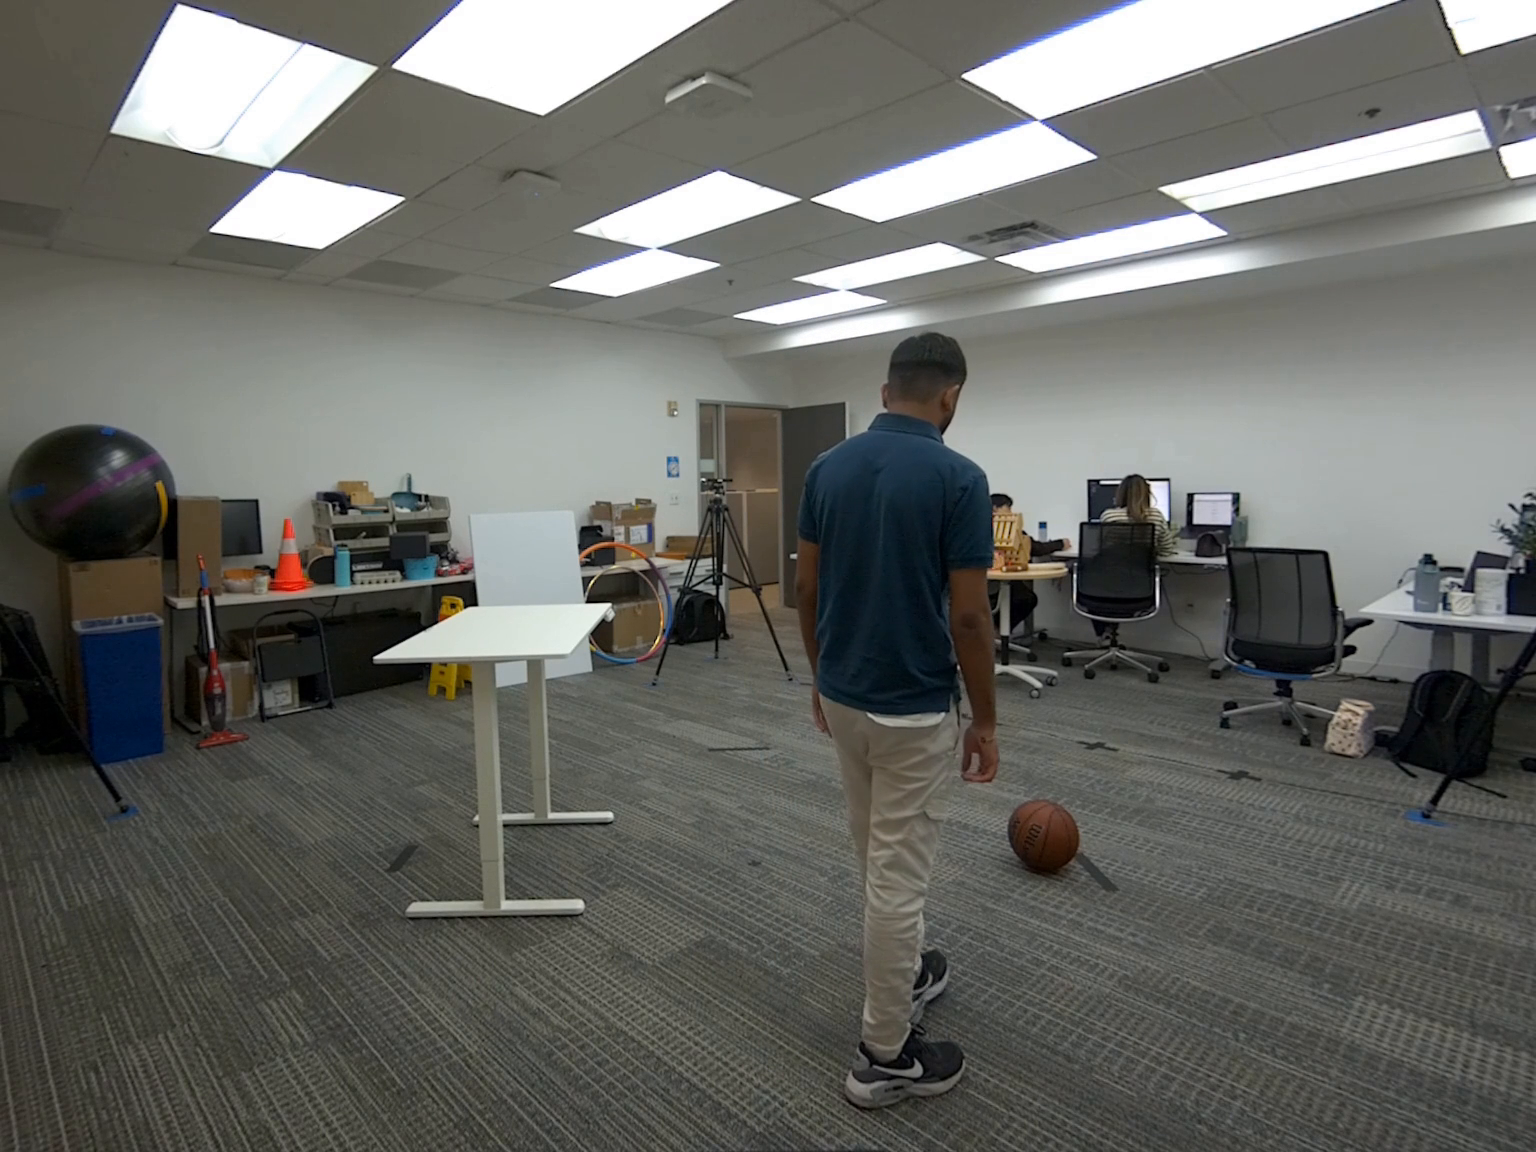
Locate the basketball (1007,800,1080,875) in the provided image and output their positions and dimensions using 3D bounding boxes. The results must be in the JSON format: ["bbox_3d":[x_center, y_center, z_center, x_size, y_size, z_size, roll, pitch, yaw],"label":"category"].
[{"bbox_3d":[0.982,0.917,3.030,0.236,0.235,0.237,-1,5,-2],"label":"basketball"}]
